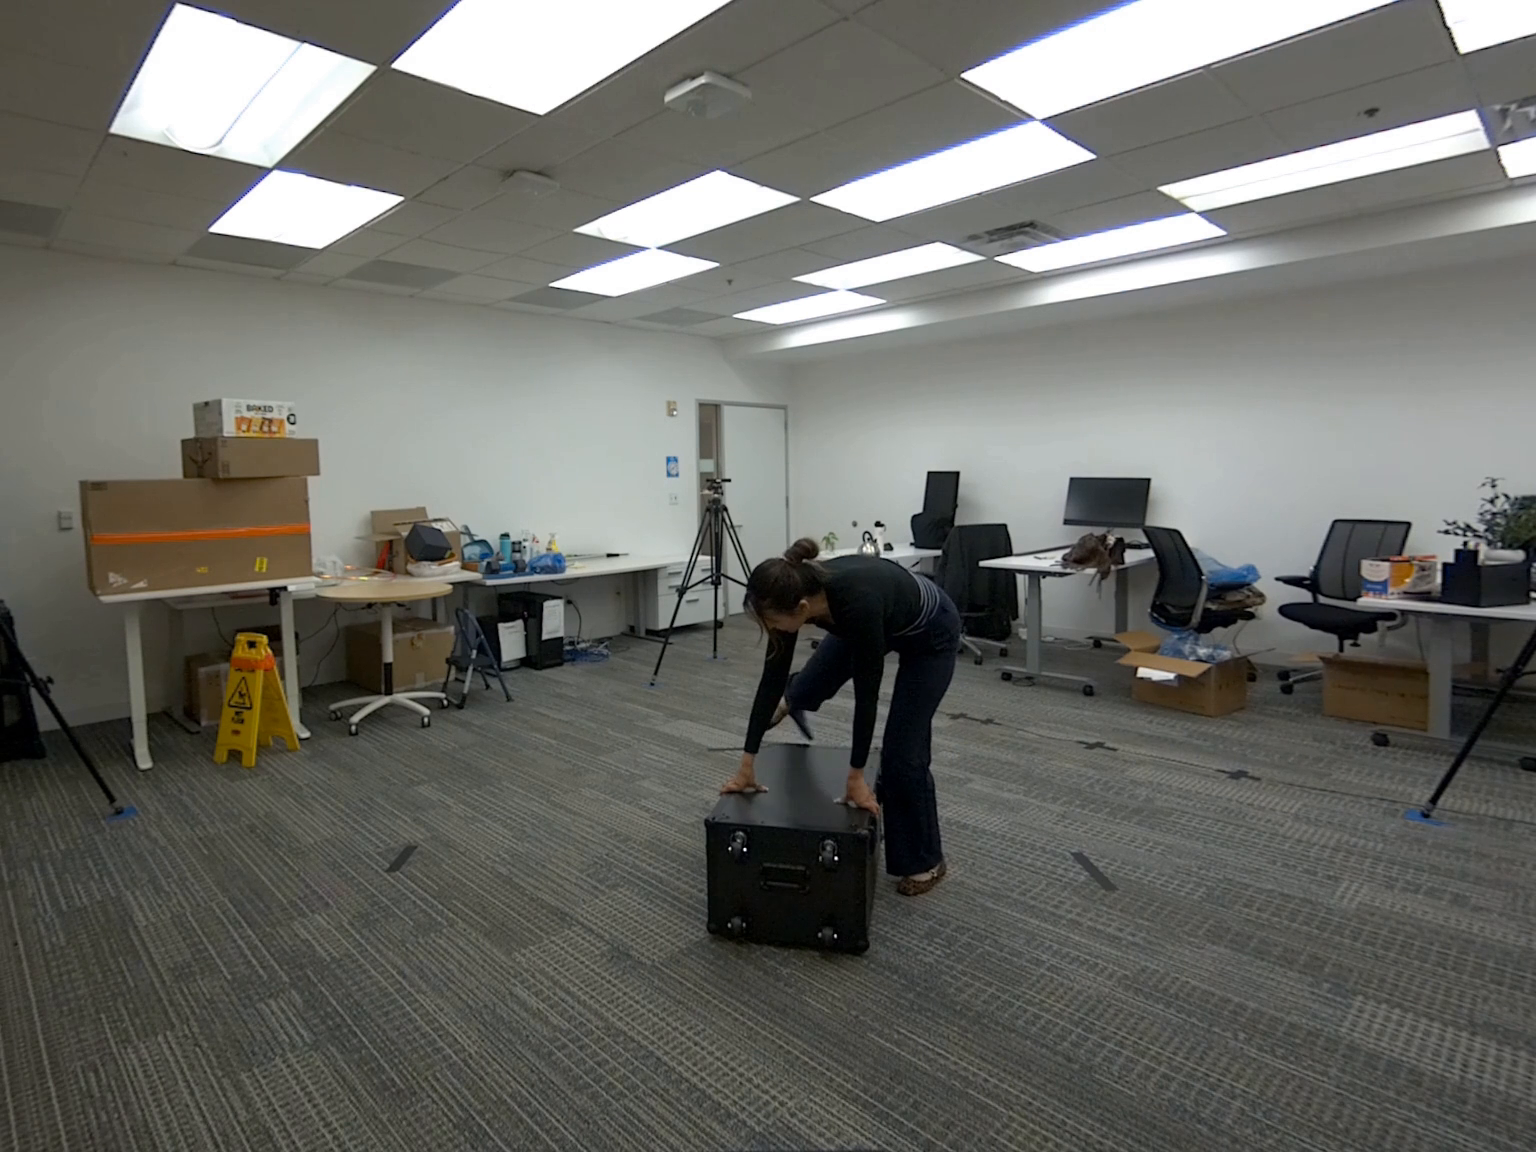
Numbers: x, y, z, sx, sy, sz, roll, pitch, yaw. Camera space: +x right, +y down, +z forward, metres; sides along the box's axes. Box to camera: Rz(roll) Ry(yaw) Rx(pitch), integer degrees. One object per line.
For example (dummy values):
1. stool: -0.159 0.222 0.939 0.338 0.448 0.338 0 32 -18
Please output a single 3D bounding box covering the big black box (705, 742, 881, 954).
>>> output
1. big black box: 0.109 0.876 2.863 0.528 0.394 0.855 1 6 11
